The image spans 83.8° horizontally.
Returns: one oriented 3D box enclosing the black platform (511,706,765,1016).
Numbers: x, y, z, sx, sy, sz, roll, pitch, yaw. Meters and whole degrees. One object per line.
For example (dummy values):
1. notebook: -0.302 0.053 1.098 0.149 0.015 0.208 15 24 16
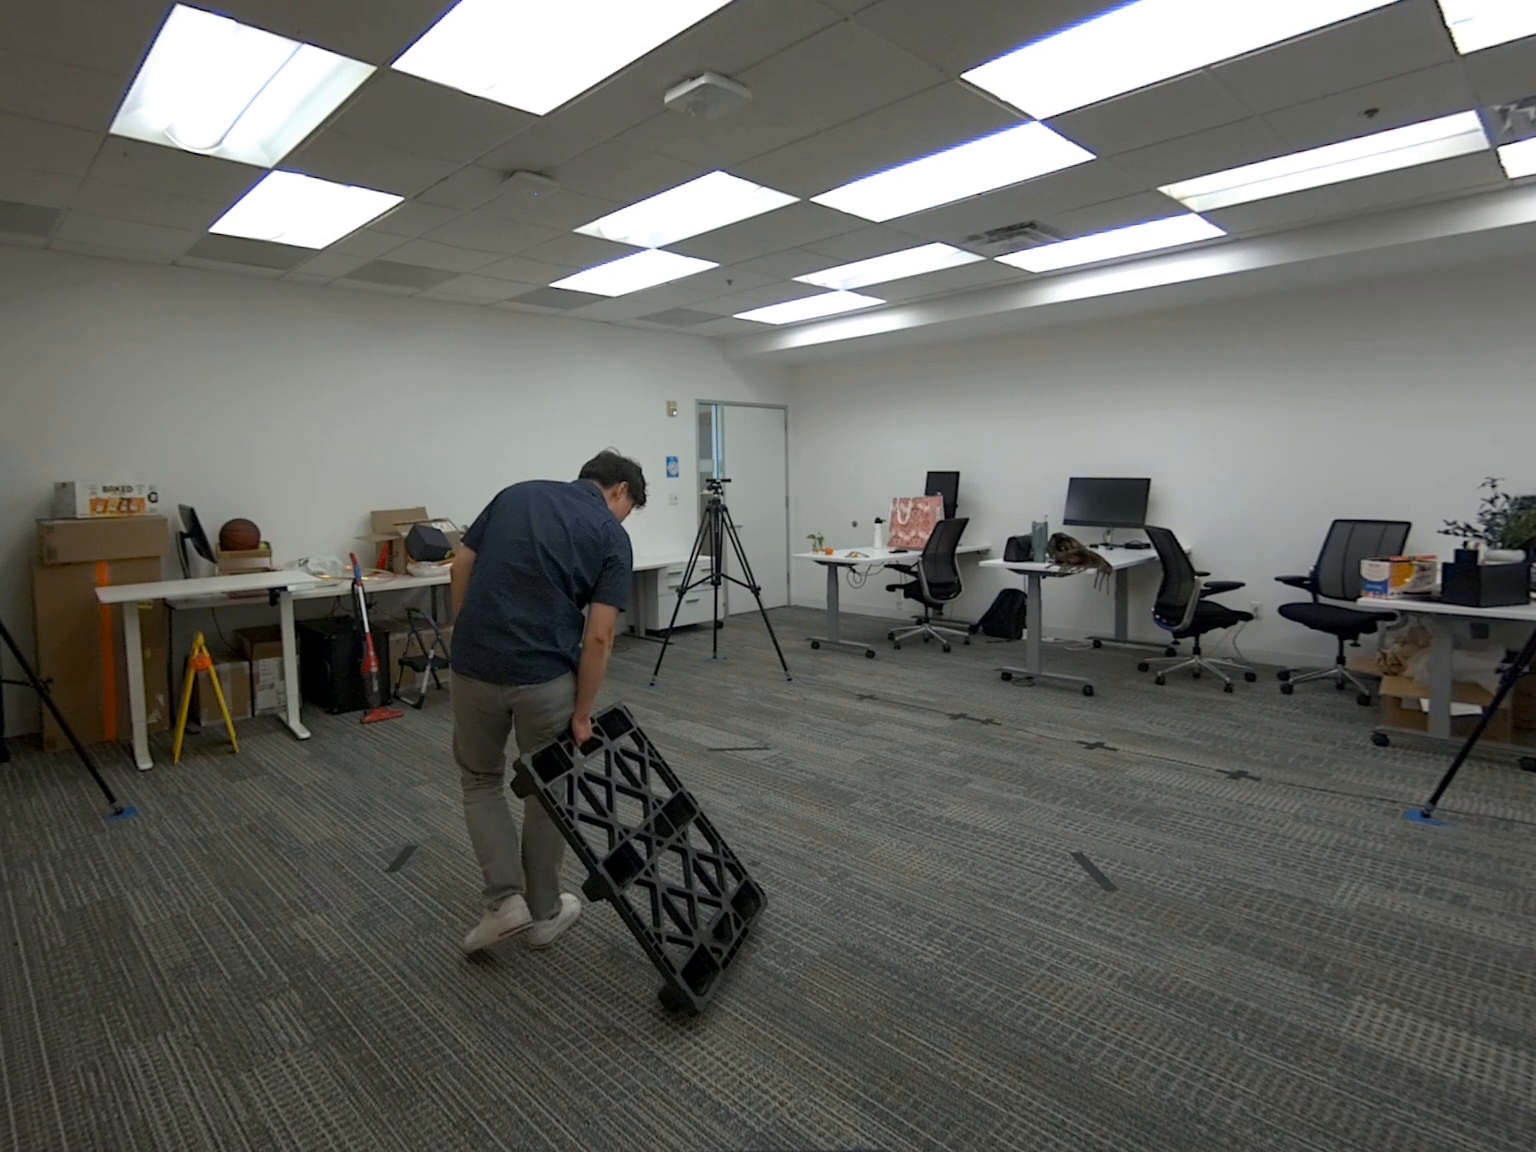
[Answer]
1. black platform: -0.373 0.801 2.507 0.143 0.815 0.597 -41 -8 17
